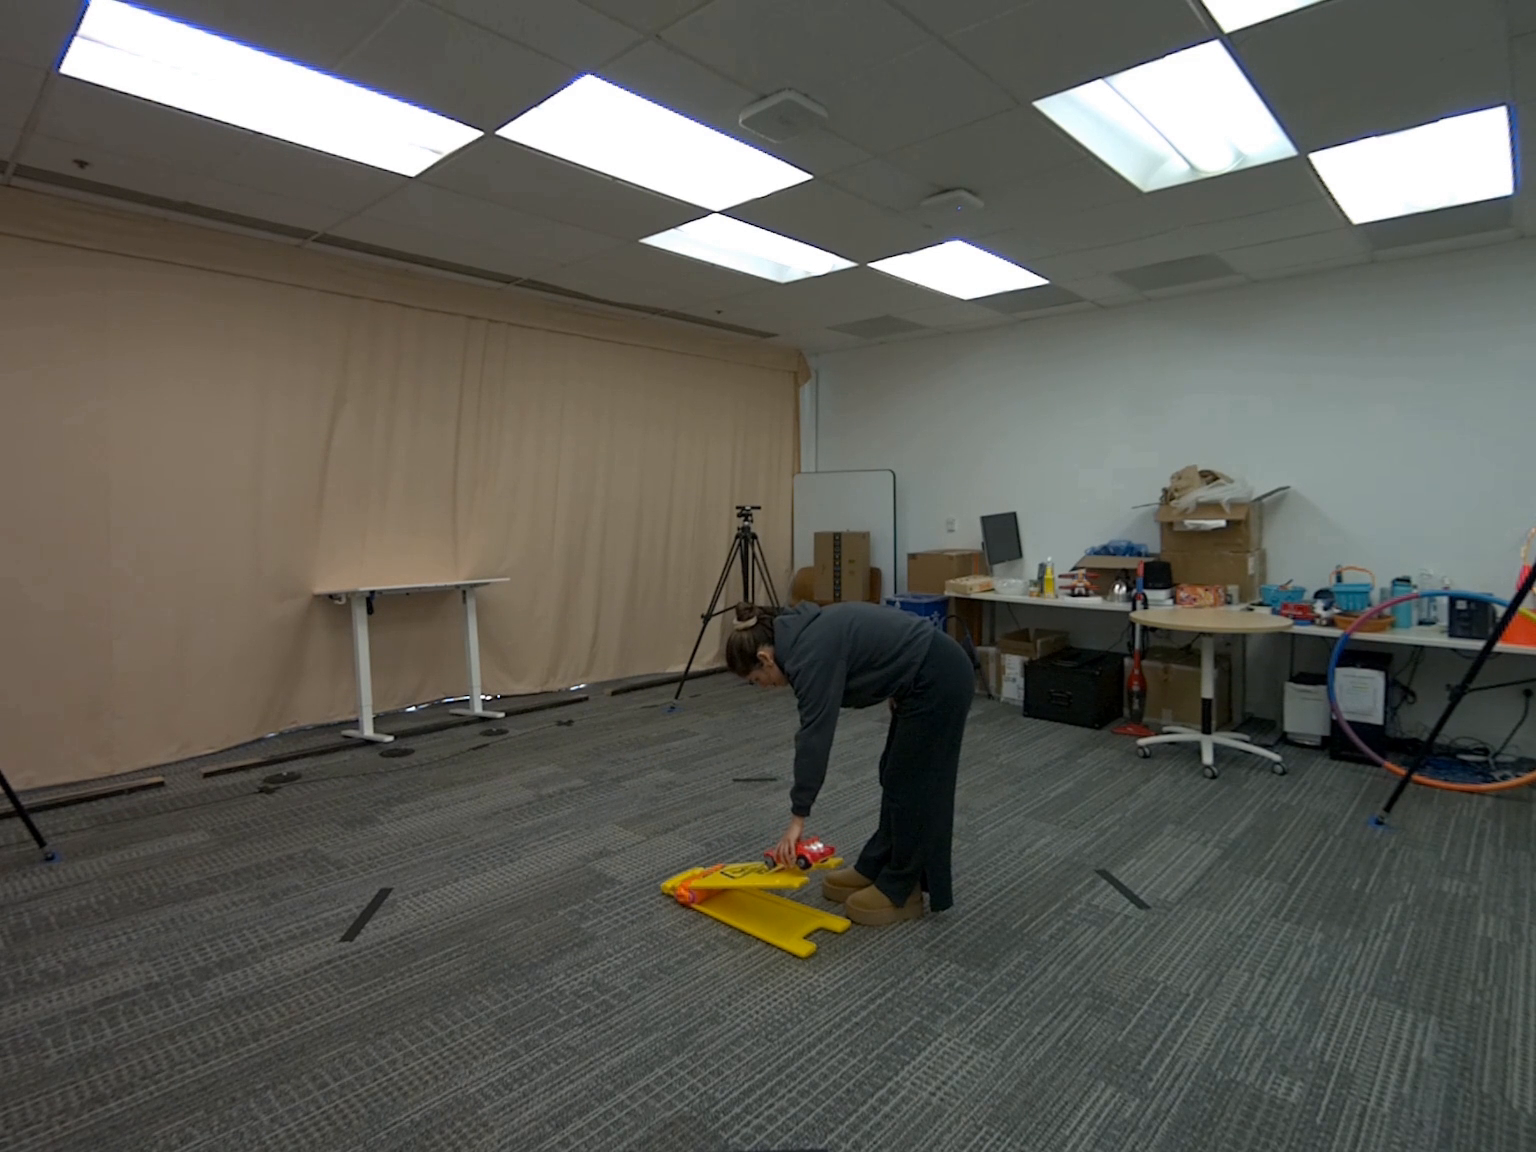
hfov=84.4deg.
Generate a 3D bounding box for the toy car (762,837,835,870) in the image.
[{"bbox_3d":[0.132,0.913,2.720,0.126,0.084,0.259,0,-24,-44],"label":"toy car"}]
